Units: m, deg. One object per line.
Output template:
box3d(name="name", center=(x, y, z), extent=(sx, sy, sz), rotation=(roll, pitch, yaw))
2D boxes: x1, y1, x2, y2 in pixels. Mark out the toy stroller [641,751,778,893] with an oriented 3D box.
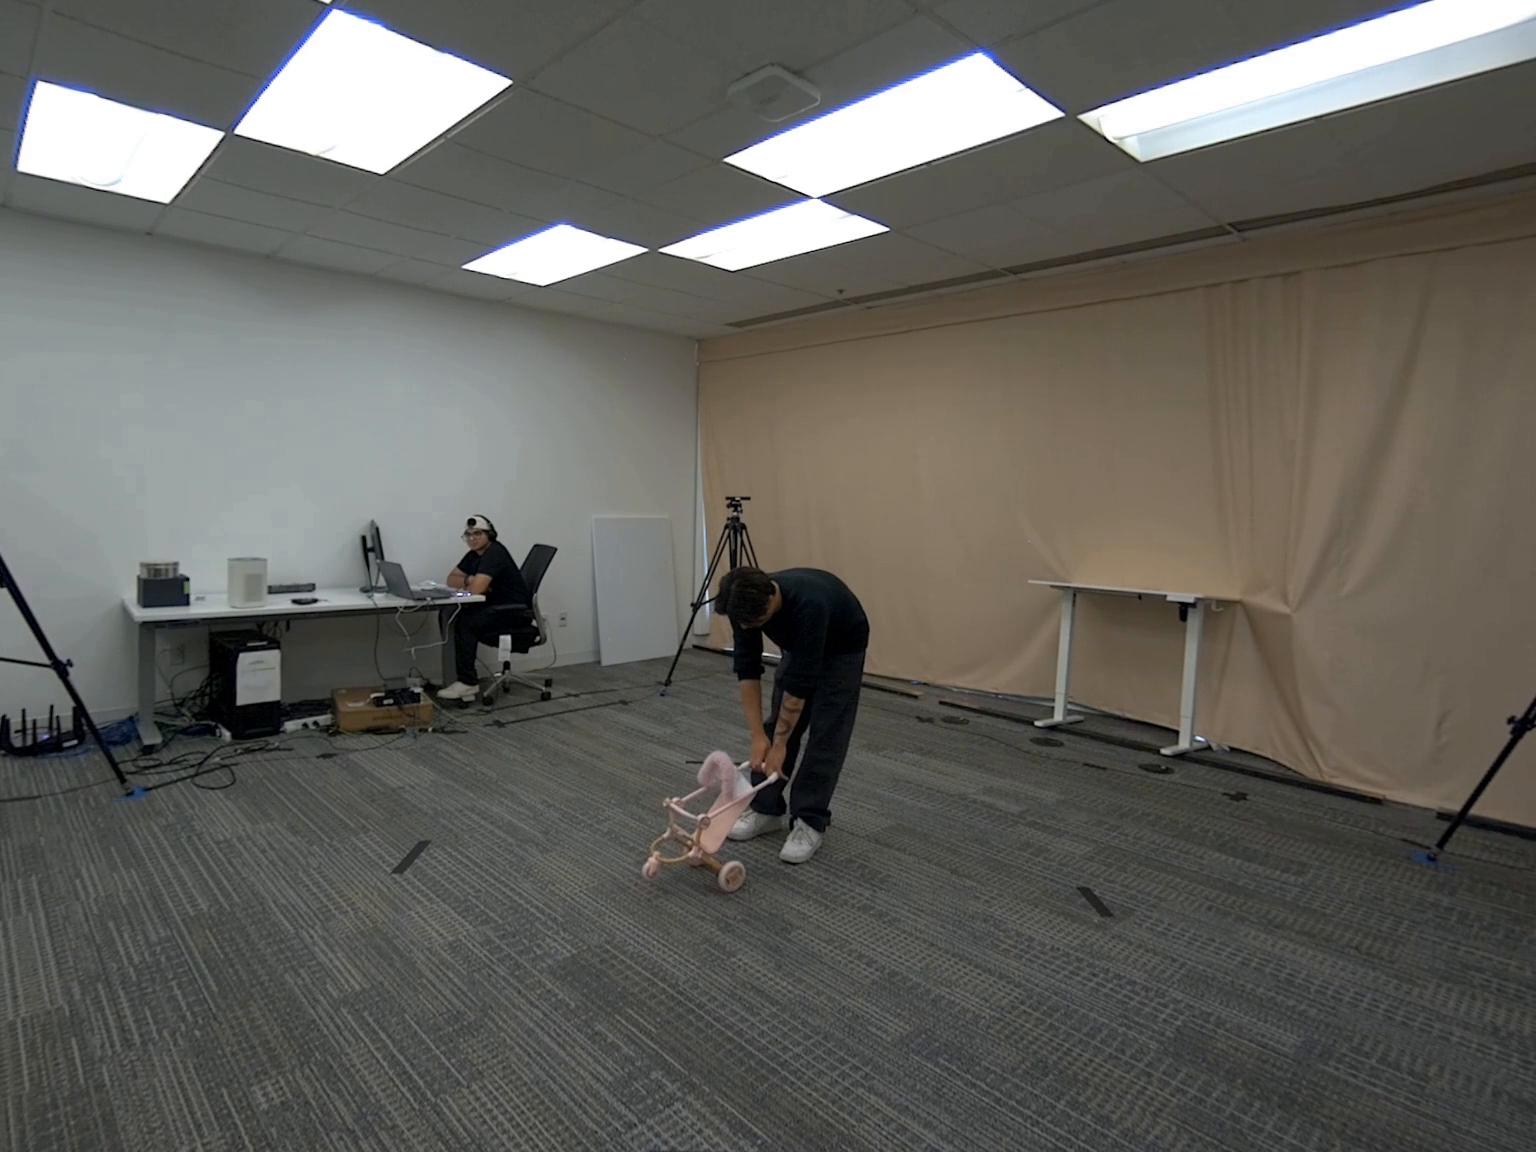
box3d(name="toy stroller", center=(-0.227, 0.878, 3.055), extent=(0.333, 0.537, 0.287), rotation=(30, -12, -27))
